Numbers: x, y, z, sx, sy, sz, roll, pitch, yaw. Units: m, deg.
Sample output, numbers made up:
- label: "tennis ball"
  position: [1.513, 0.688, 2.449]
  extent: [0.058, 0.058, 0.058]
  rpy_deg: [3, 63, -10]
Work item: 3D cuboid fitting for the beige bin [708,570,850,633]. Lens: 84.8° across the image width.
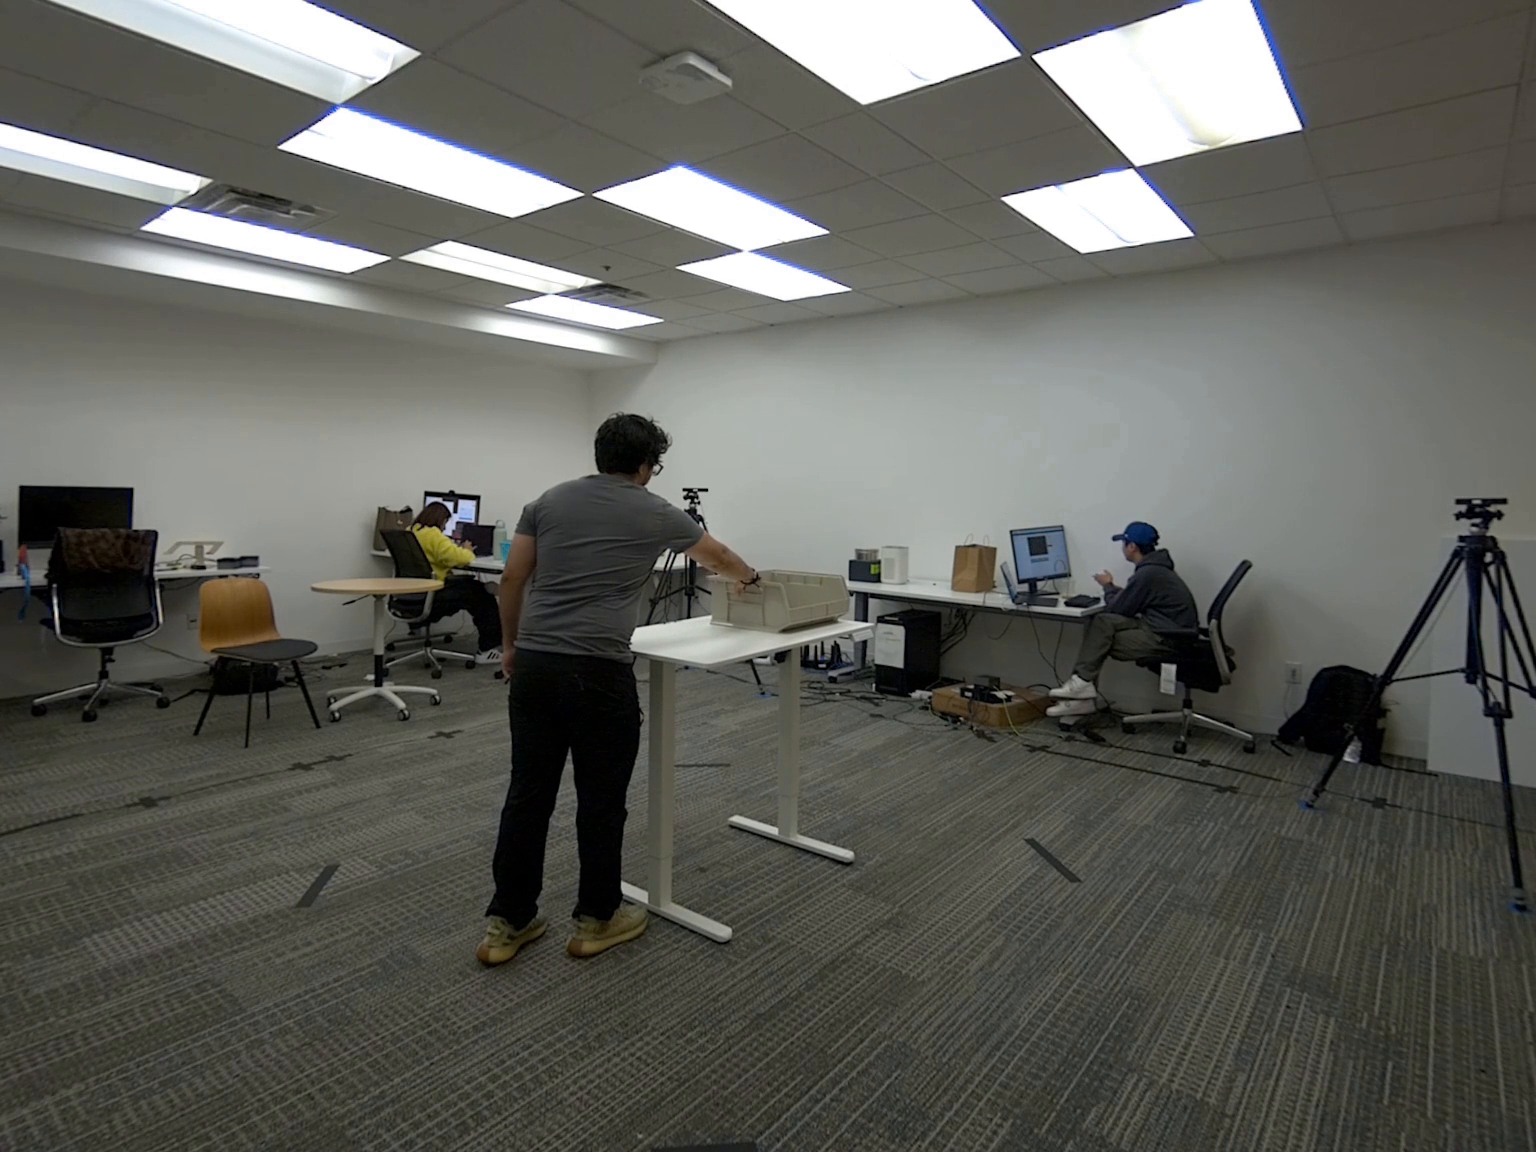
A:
- label: "beige bin"
  position: [0.038, 0.088, 3.239]
  extent: [0.390, 0.188, 0.410]
  rpy_deg: [3, 6, 38]
